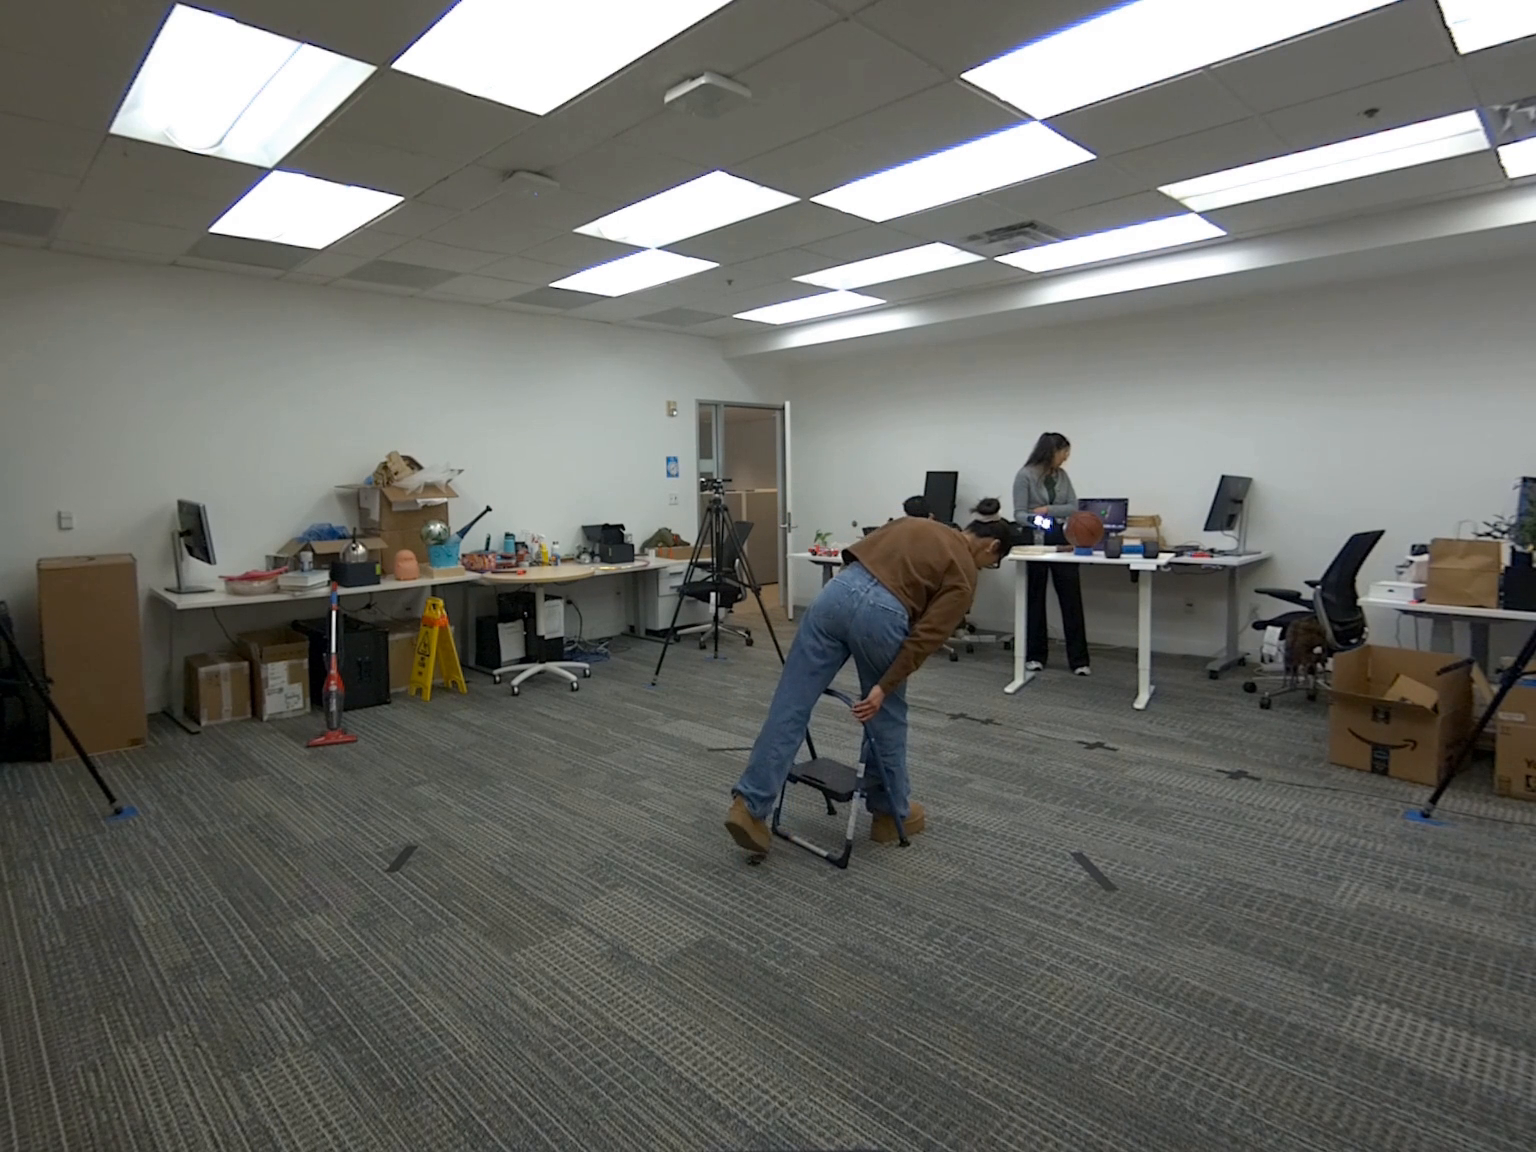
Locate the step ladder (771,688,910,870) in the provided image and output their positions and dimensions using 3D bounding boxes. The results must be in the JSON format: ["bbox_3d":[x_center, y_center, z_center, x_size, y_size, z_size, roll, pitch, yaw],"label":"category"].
[{"bbox_3d":[0.267,0.713,3.287,0.340,0.603,0.444,-5,6,-38],"label":"step ladder"}]
